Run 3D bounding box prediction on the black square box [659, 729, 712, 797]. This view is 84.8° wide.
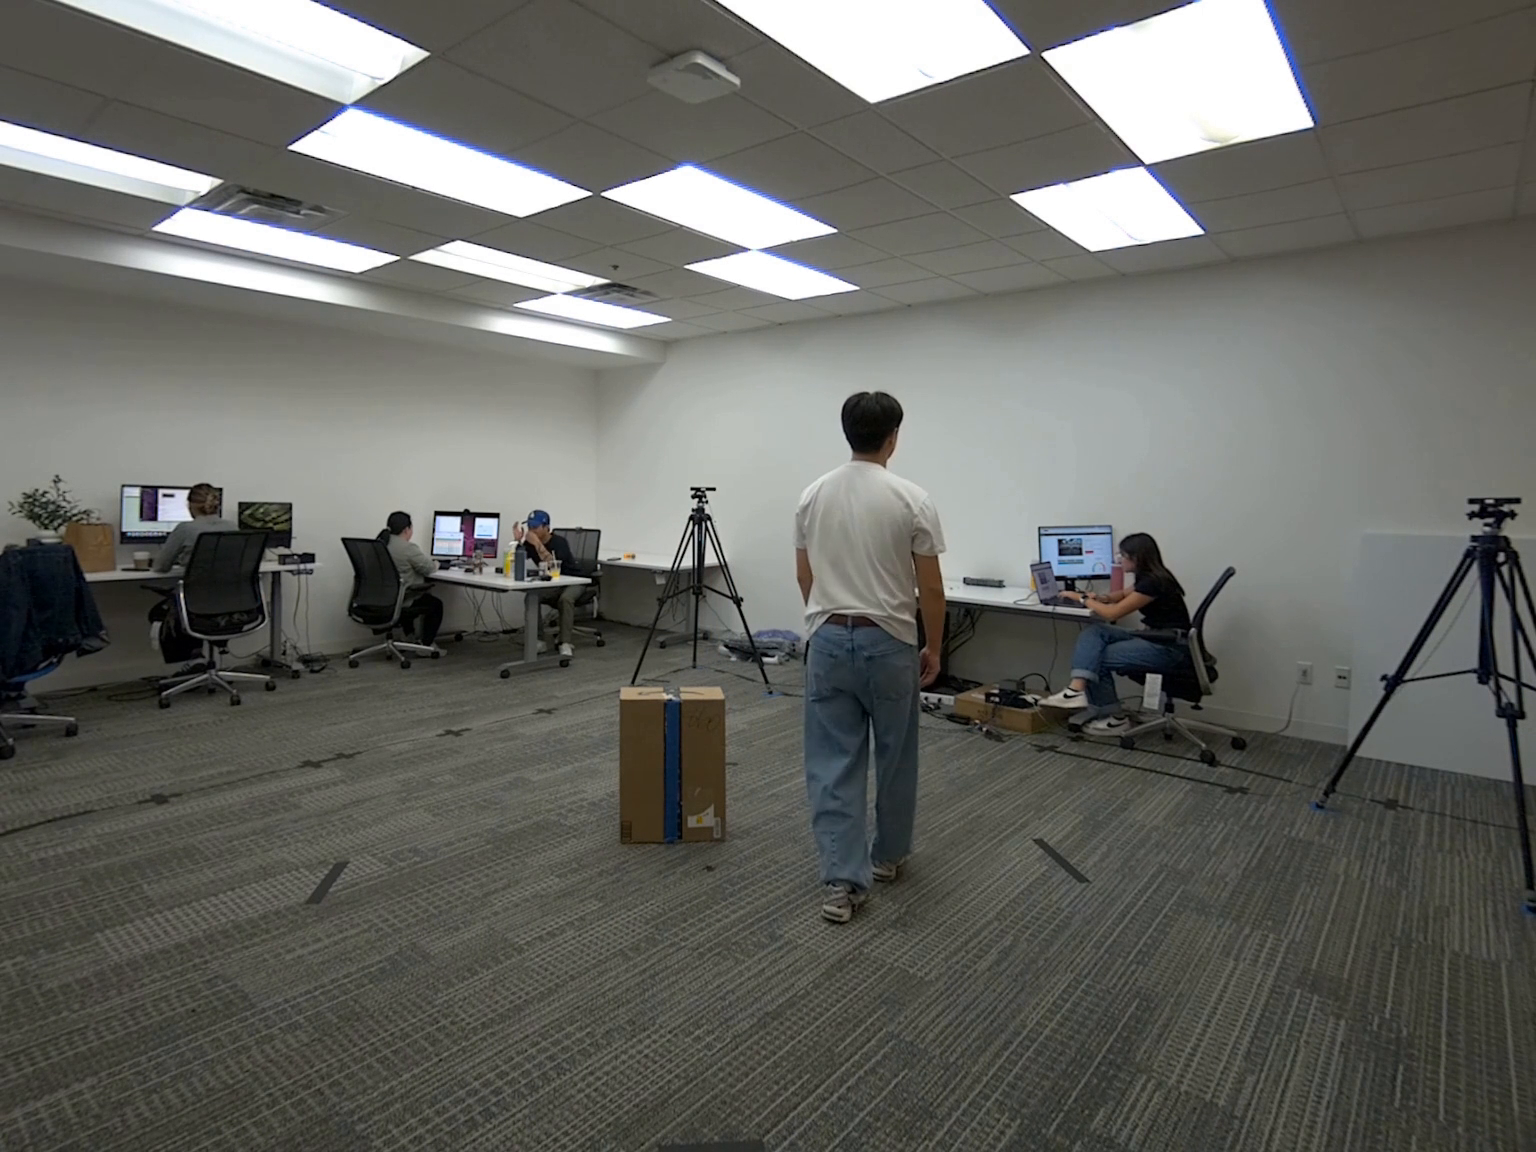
[{"bbox_3d":[-0.383,0.859,3.898,0.159,0.227,0.213,4,5,19],"label":"black square box"}]
